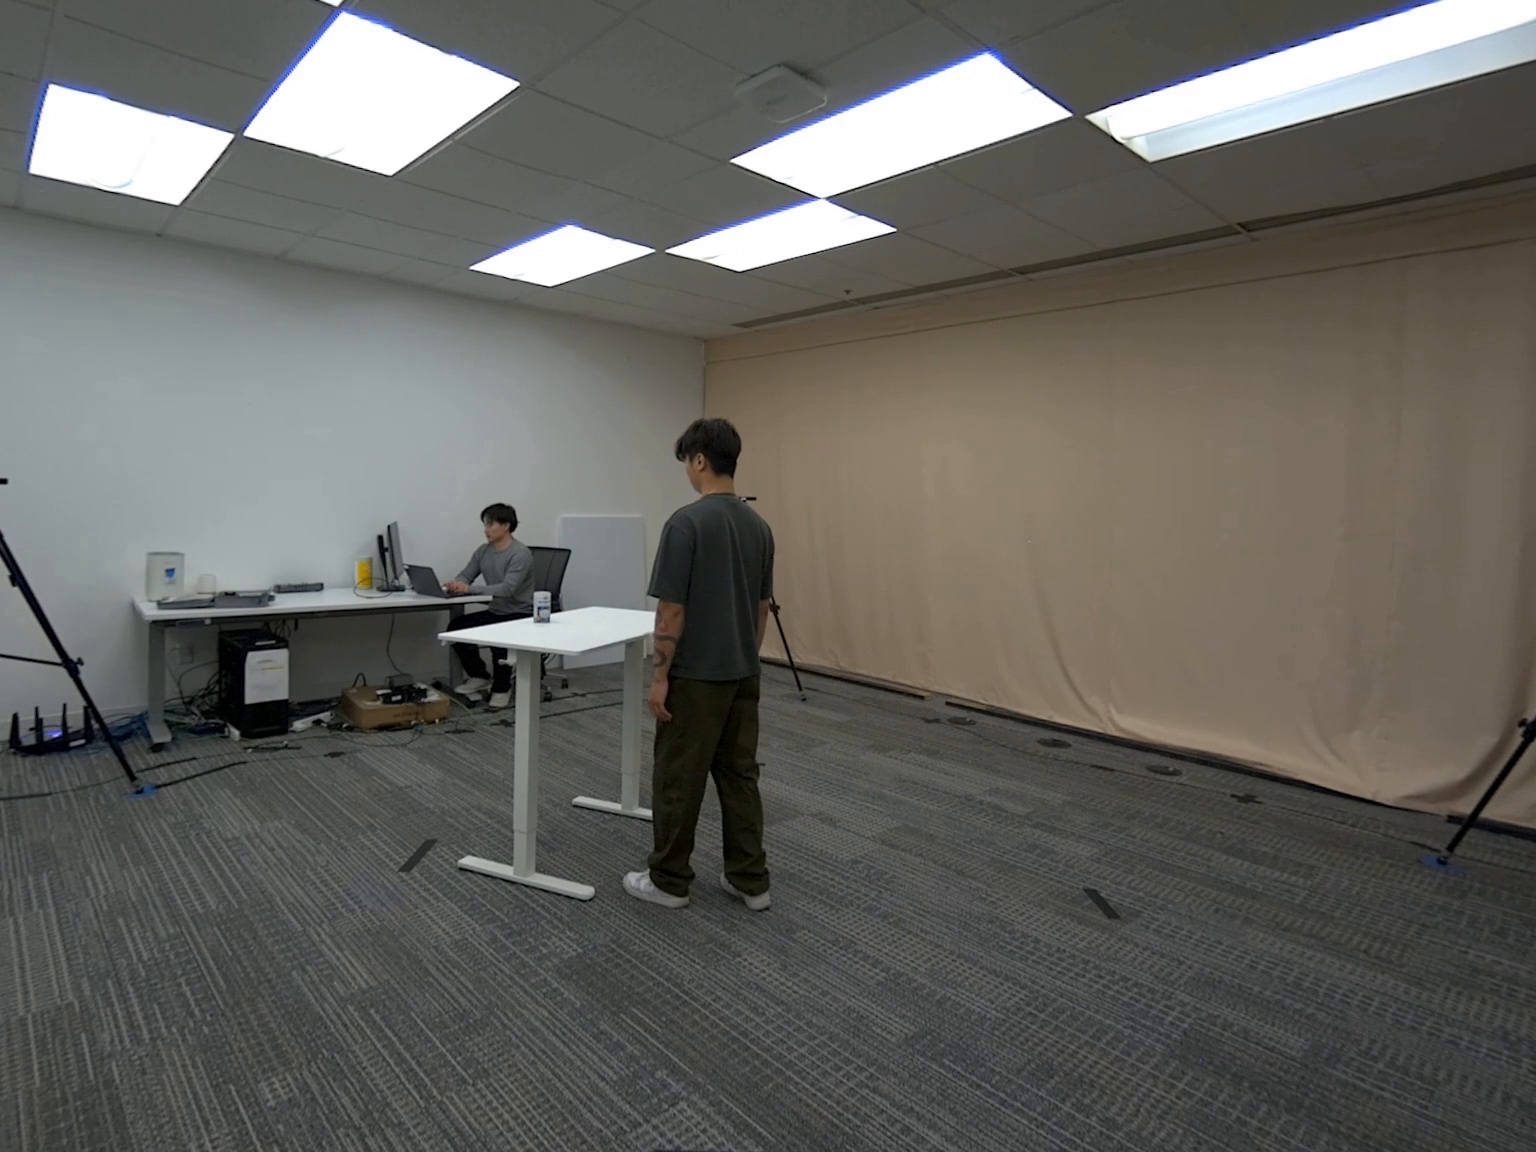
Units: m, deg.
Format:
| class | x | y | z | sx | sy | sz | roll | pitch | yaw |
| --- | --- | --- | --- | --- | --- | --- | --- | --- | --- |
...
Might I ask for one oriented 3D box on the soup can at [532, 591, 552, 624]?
| class | x | y | z | sx | sy | sz | roll | pitch | yaw |
| --- | --- | --- | --- | --- | --- | --- | --- | --- | --- |
| soup can | -0.902 | 0.127 | 3.342 | 0.067 | 0.121 | 0.067 | -1 | 3 | -1 |
